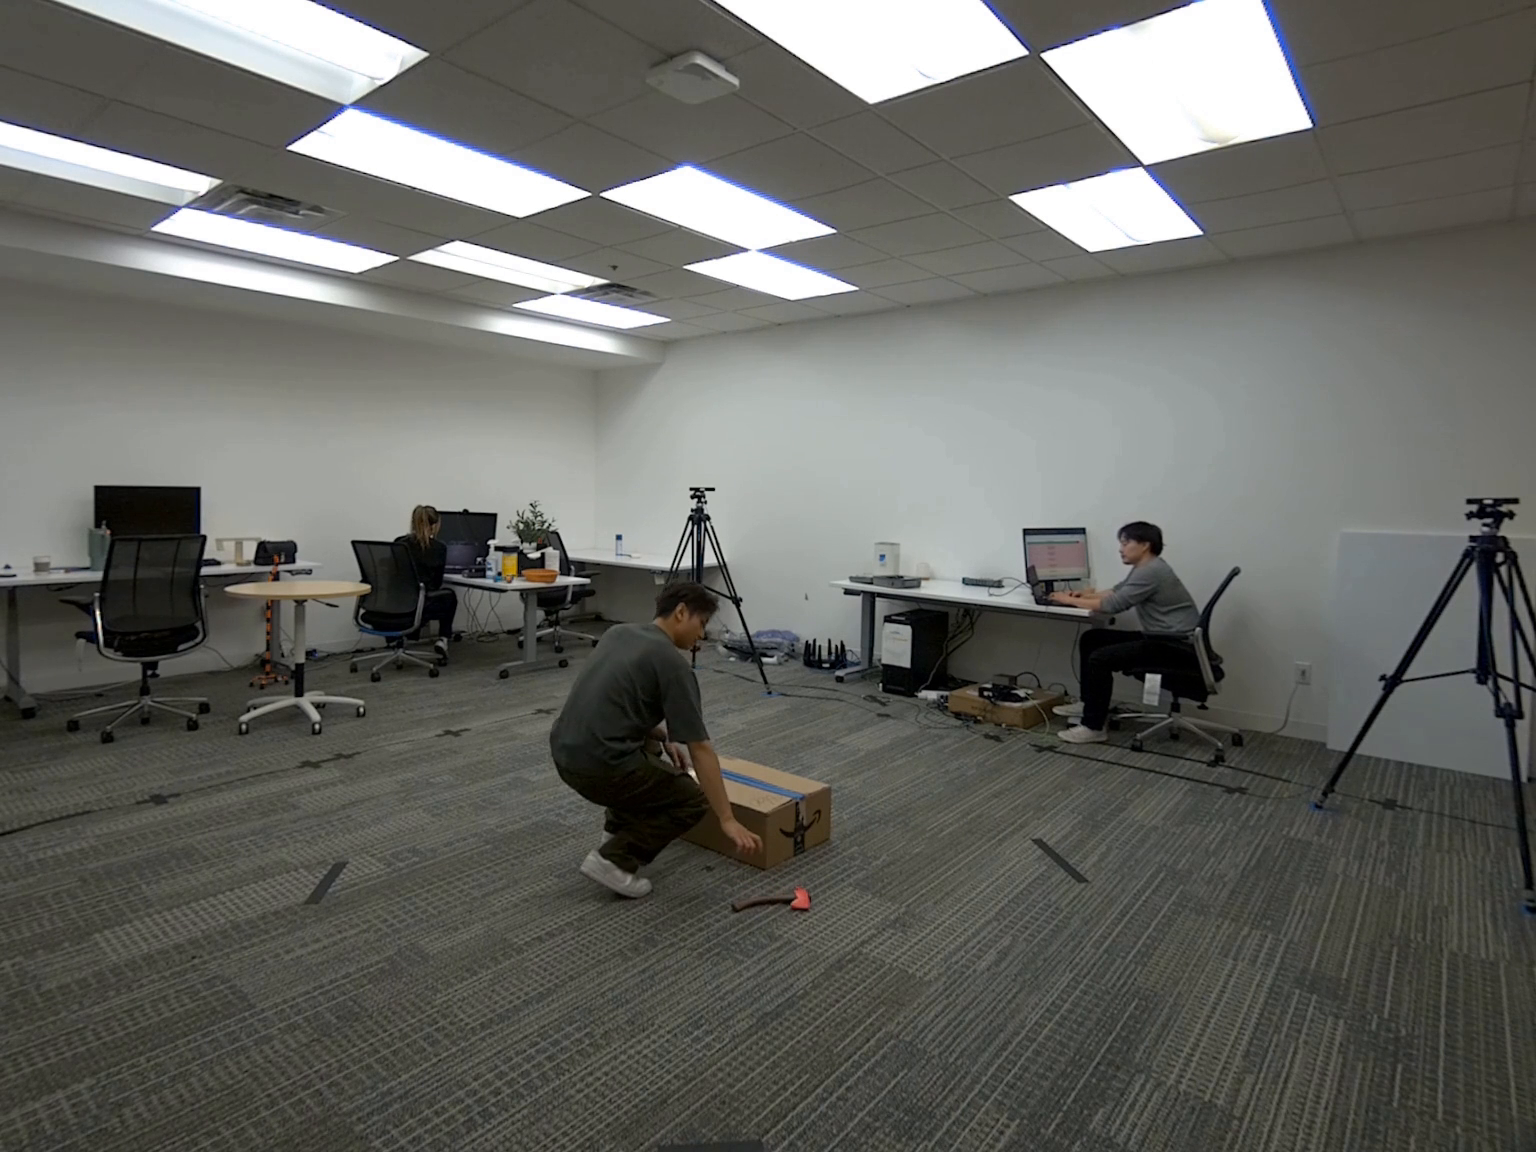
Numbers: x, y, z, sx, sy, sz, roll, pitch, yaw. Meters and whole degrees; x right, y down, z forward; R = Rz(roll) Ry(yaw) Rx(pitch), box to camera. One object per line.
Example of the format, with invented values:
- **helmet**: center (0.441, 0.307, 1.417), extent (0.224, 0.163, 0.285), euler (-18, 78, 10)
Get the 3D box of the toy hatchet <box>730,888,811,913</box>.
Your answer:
- **toy hatchet**: center (0.021, 1.092, 2.820), extent (0.263, 0.029, 0.135), euler (-4, 9, -28)
